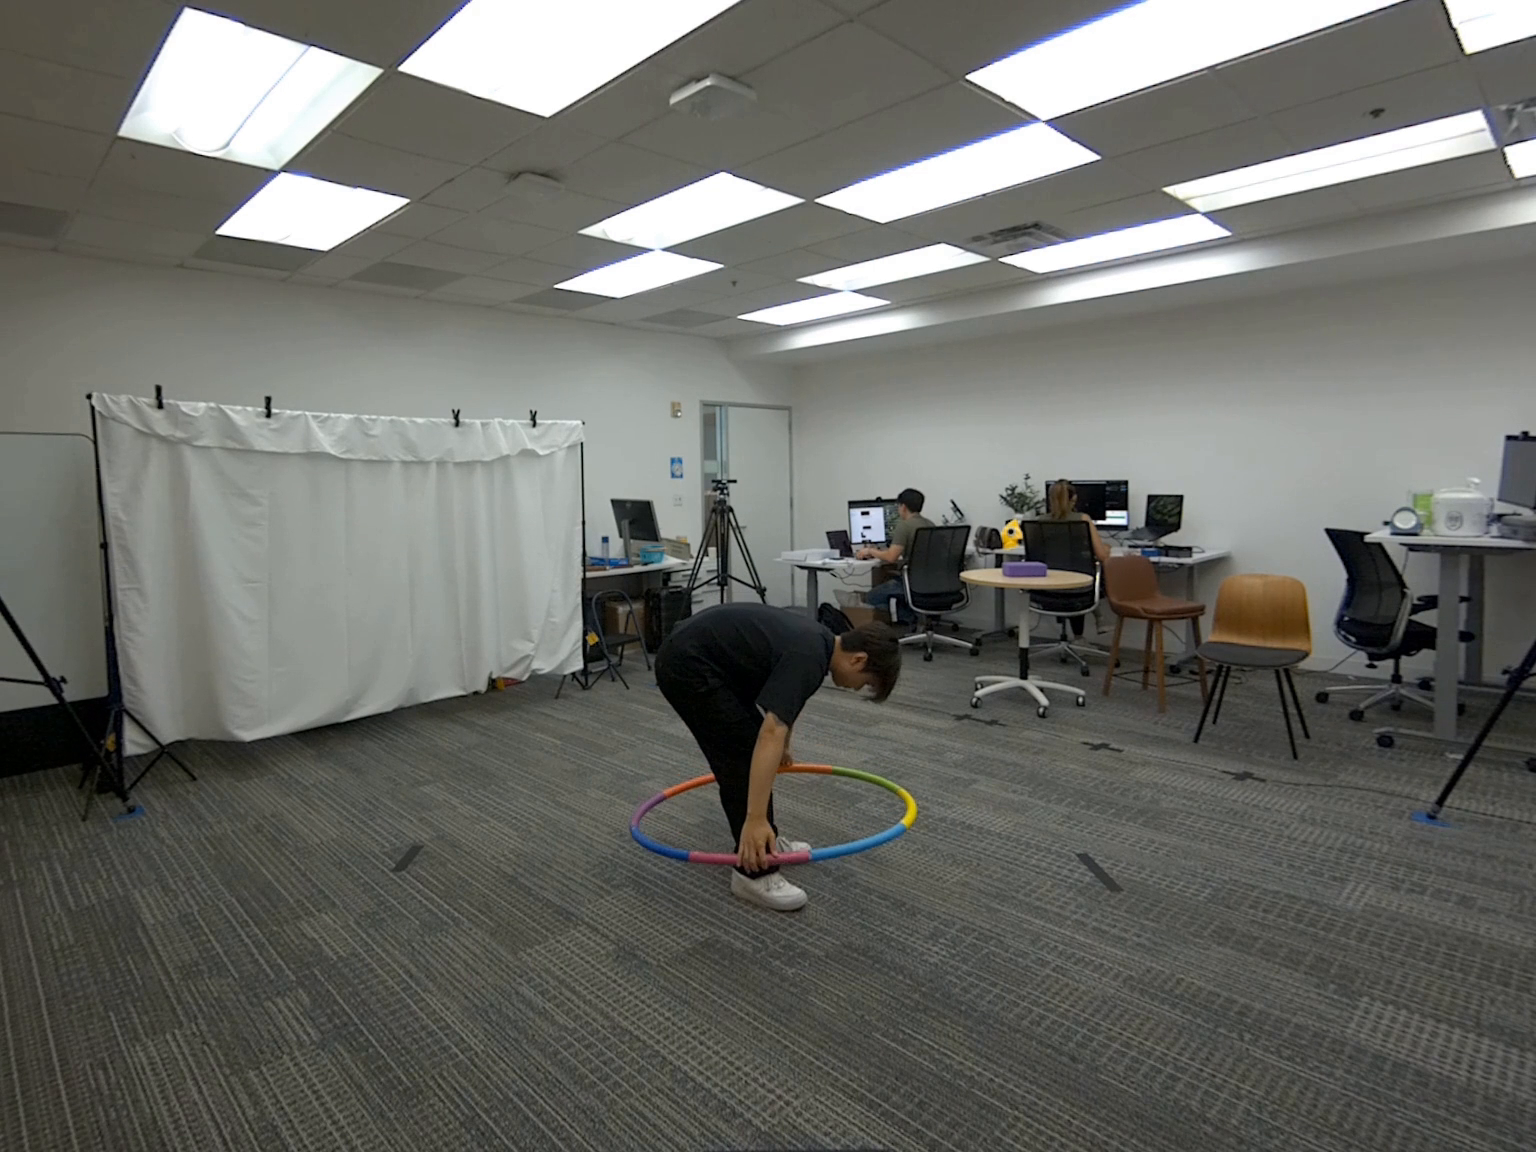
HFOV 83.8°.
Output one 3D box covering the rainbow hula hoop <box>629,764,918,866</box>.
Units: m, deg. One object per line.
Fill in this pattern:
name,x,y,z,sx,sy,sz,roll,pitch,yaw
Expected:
rainbow hula hoop,0.009,0.810,2.979,0.978,0.035,0.981,-5,3,-2
